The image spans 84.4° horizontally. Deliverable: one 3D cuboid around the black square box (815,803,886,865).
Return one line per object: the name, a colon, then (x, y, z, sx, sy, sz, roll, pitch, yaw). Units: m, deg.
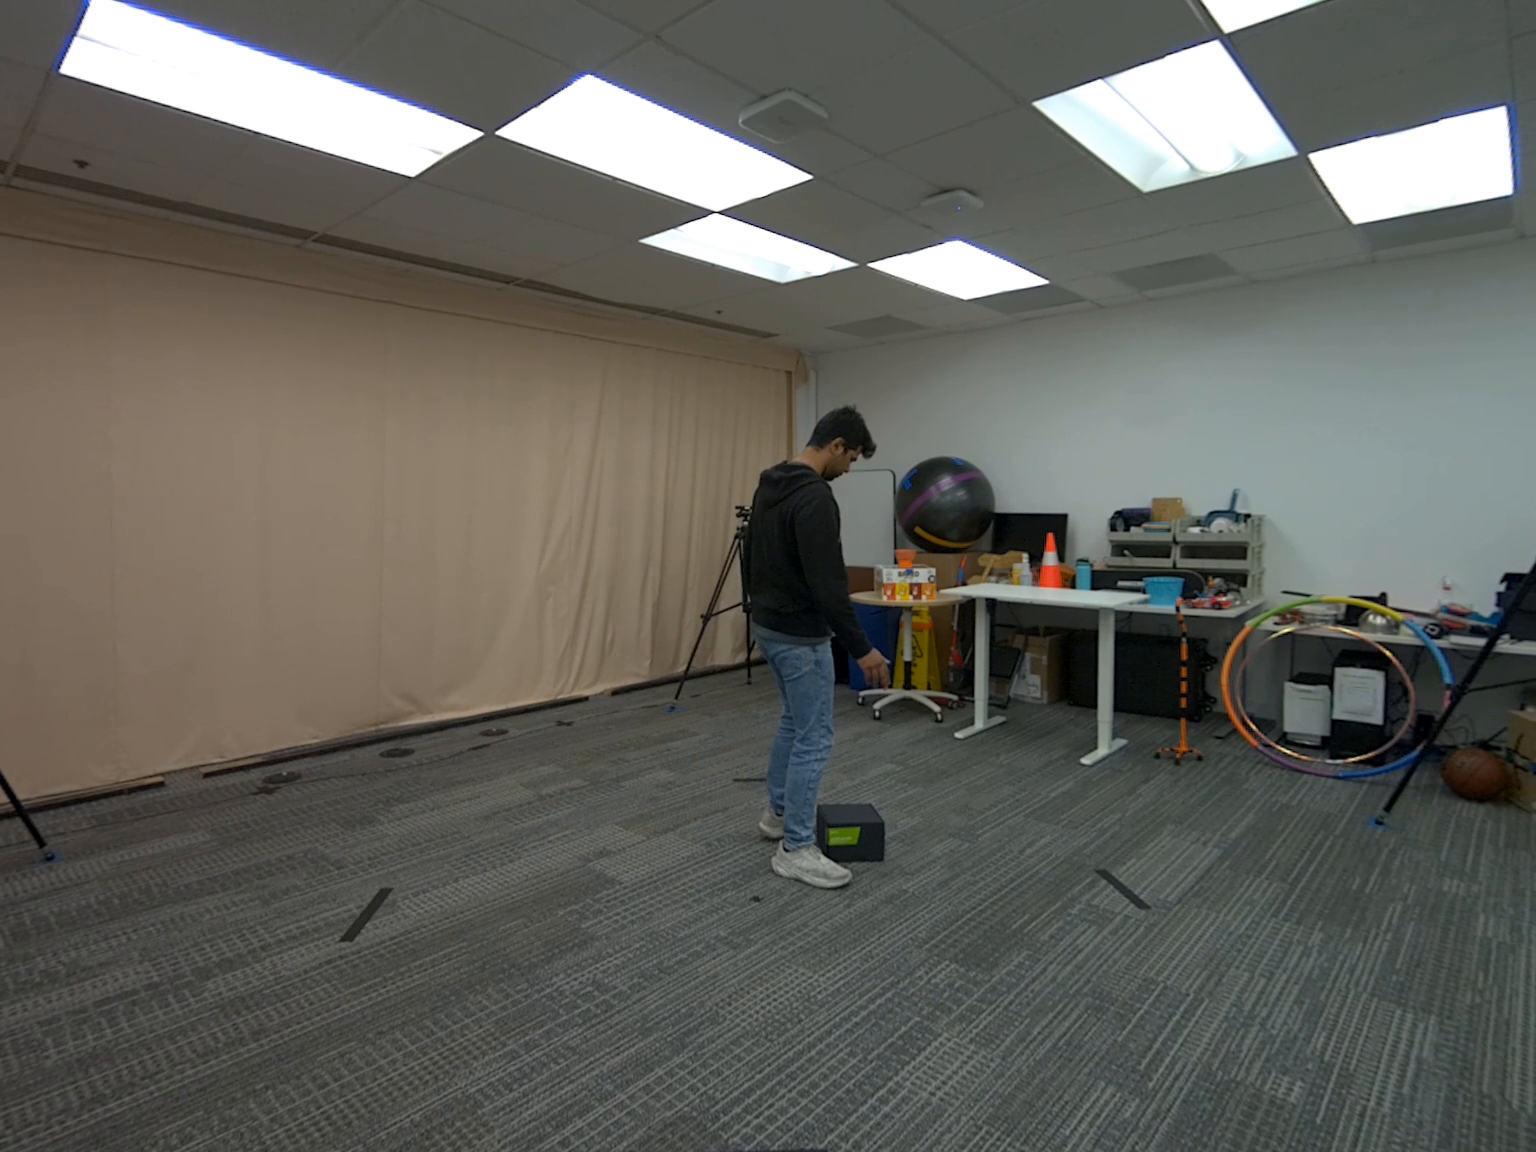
black square box: (0.342, 1.025, 3.374, 0.227, 0.155, 0.218, -1, 3, -6)
